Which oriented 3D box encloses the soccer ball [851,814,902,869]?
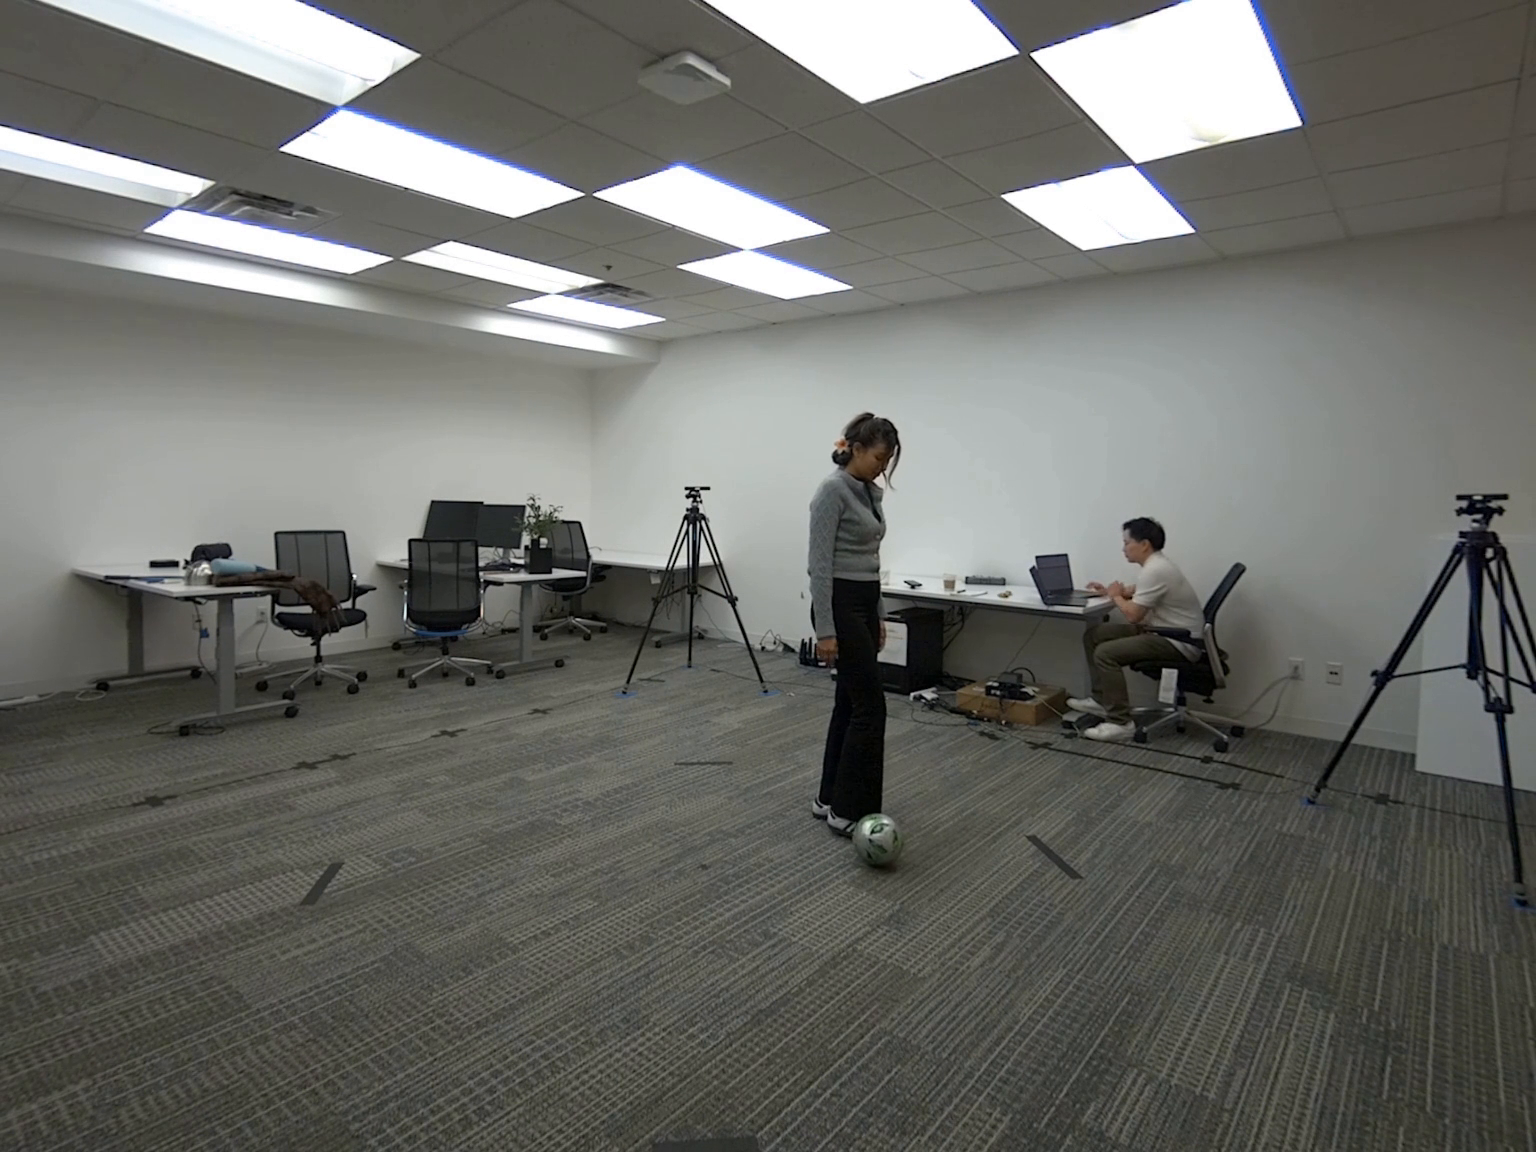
[{"bbox_3d":[0.400,0.977,3.164,0.187,0.187,0.188,1,4,-2],"label":"soccer ball"}]
